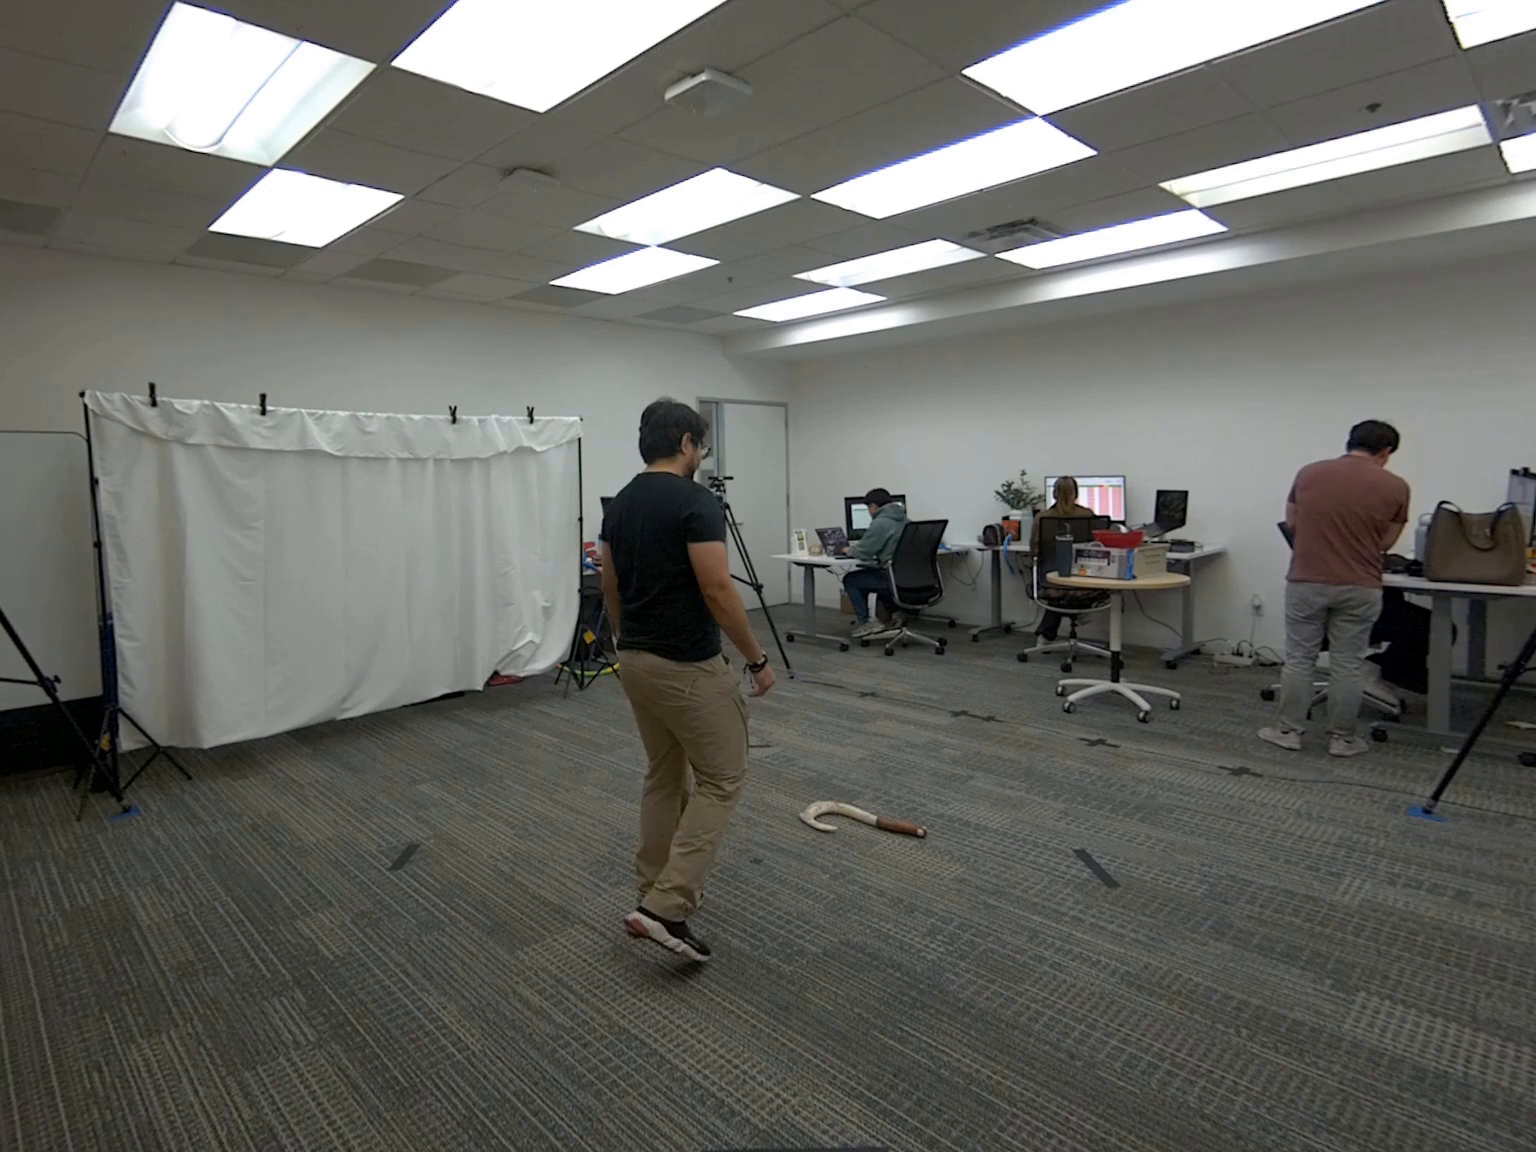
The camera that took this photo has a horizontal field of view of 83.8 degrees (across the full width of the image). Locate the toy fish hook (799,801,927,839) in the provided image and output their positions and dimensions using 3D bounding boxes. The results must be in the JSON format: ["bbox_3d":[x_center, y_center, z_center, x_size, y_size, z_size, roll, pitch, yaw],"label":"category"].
[{"bbox_3d":[0.371,0.982,3.374,0.521,0.048,0.221,2,14,34],"label":"toy fish hook"}]
